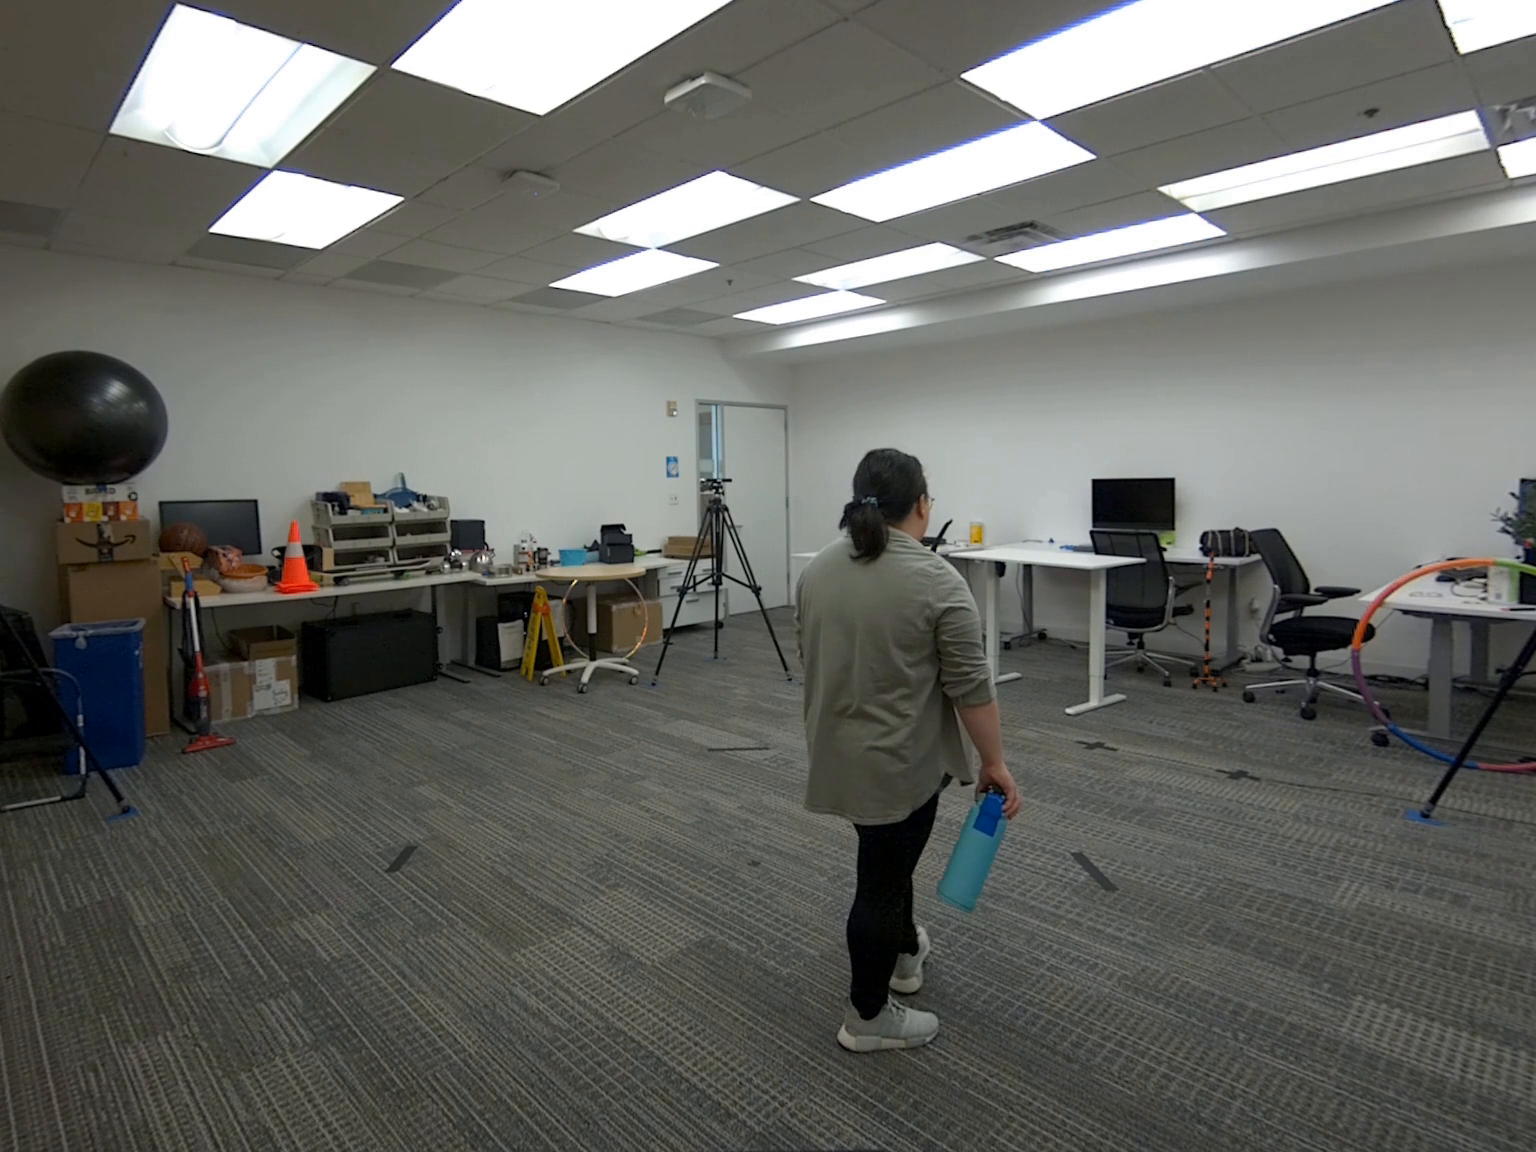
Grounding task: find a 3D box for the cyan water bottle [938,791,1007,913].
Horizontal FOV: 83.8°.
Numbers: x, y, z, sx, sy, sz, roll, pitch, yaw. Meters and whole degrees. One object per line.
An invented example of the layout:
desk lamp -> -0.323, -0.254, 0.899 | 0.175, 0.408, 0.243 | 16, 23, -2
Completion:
cyan water bottle -> 0.487, 0.627, 1.998 | 0.093, 0.284, 0.091 | 23, -9, 2
